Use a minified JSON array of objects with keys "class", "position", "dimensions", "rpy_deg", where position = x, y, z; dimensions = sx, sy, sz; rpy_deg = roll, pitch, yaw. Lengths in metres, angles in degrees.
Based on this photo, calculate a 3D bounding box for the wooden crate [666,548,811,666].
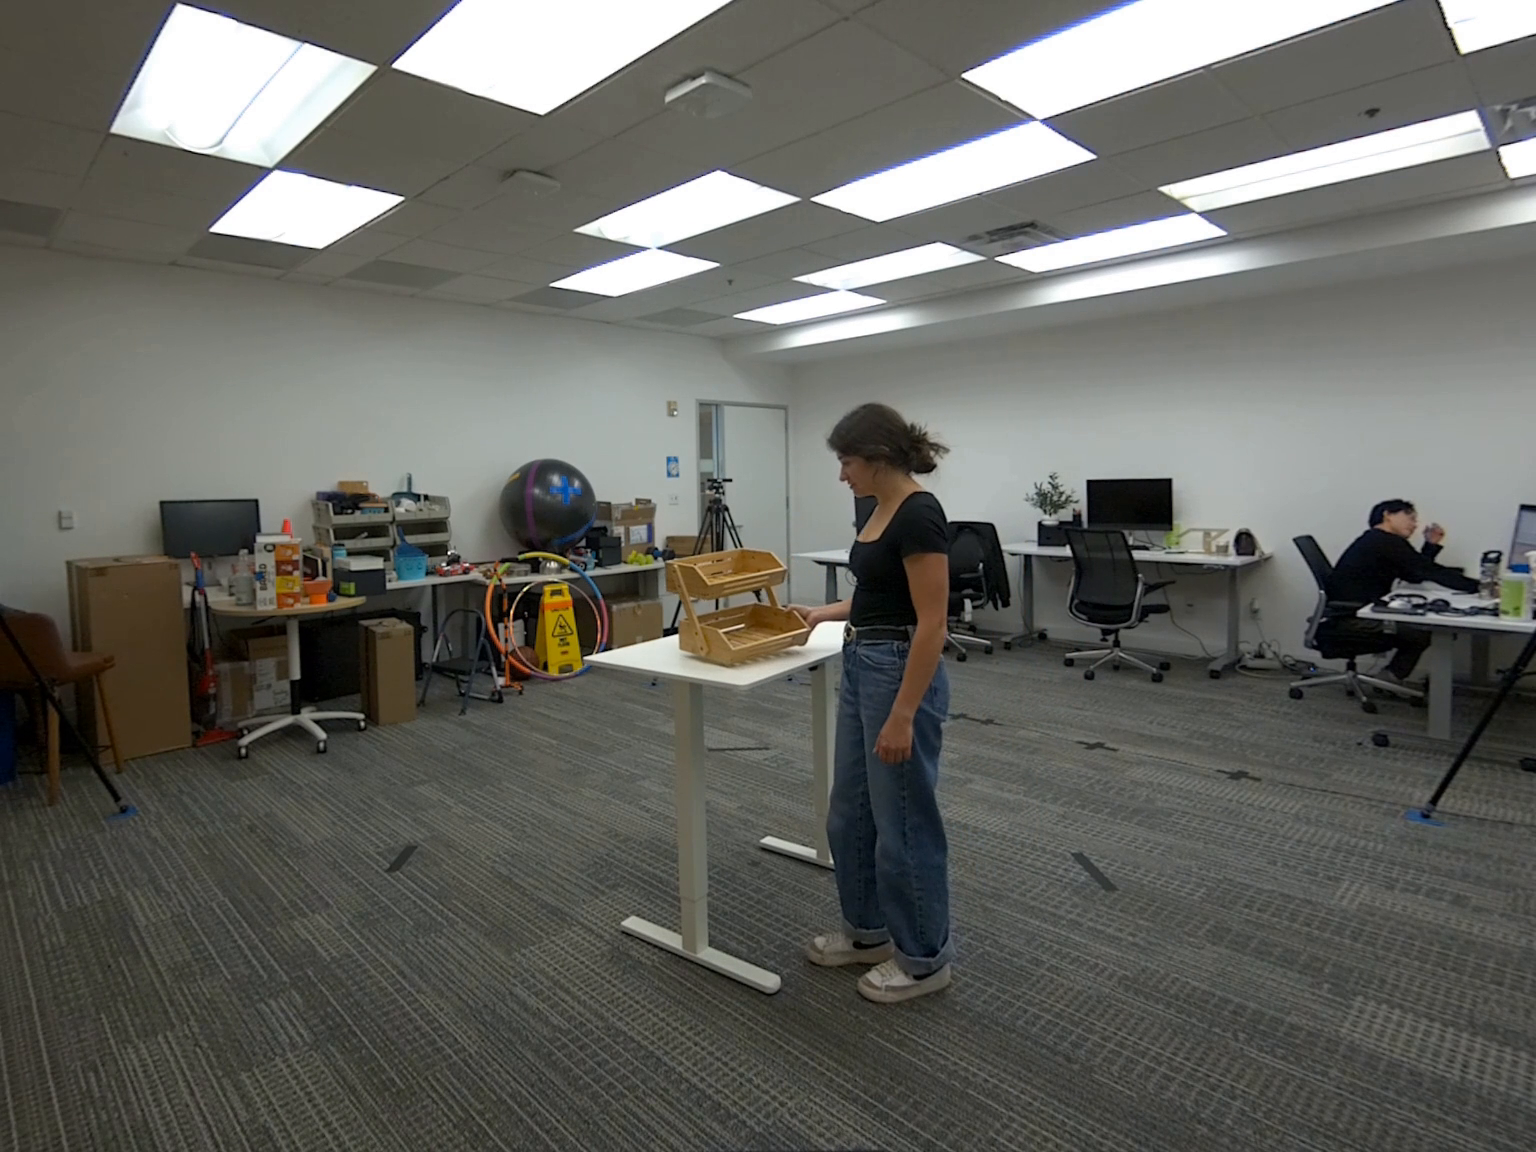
[{"class":"wooden crate","position":[-0.087,0.075,2.521],"dimensions":[0.317,0.271,0.312],"rpy_deg":[-10,11,-39]}]
